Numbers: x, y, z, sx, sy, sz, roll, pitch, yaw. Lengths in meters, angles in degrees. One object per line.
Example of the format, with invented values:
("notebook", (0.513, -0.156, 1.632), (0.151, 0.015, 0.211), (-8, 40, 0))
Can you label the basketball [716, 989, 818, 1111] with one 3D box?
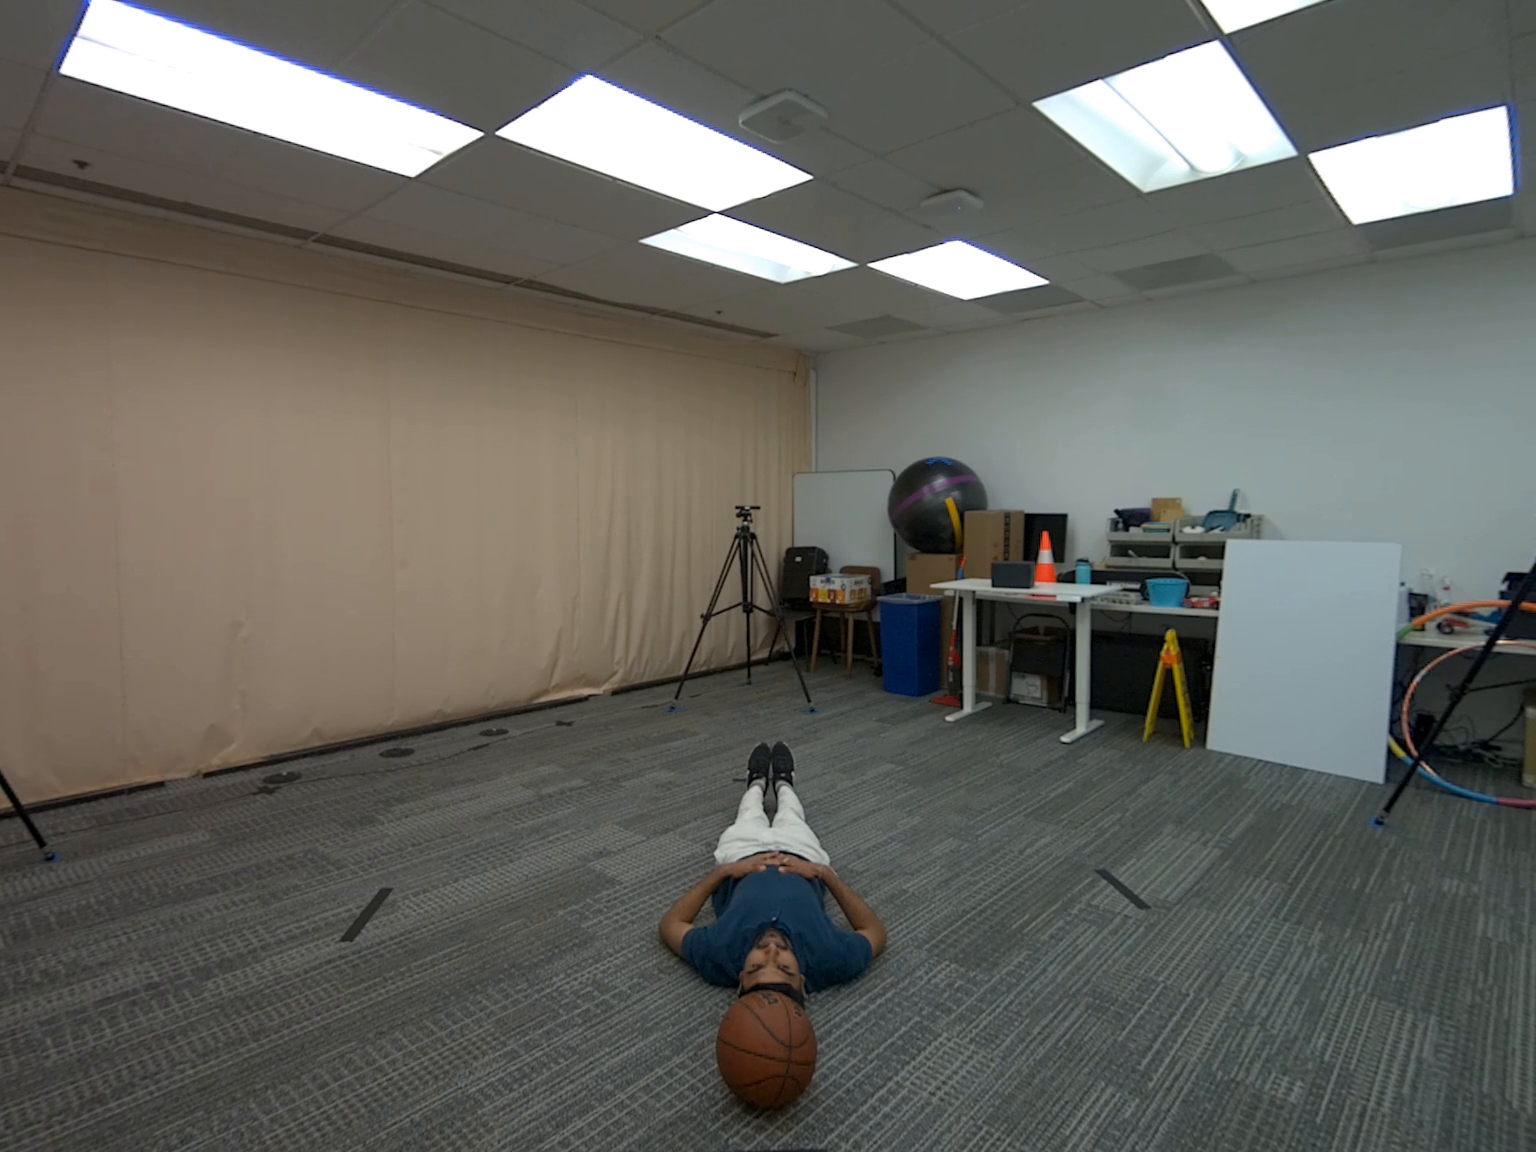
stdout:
("basketball", (0.000, 1.110, 1.972), (0.236, 0.235, 0.237), (0, 4, -2))
